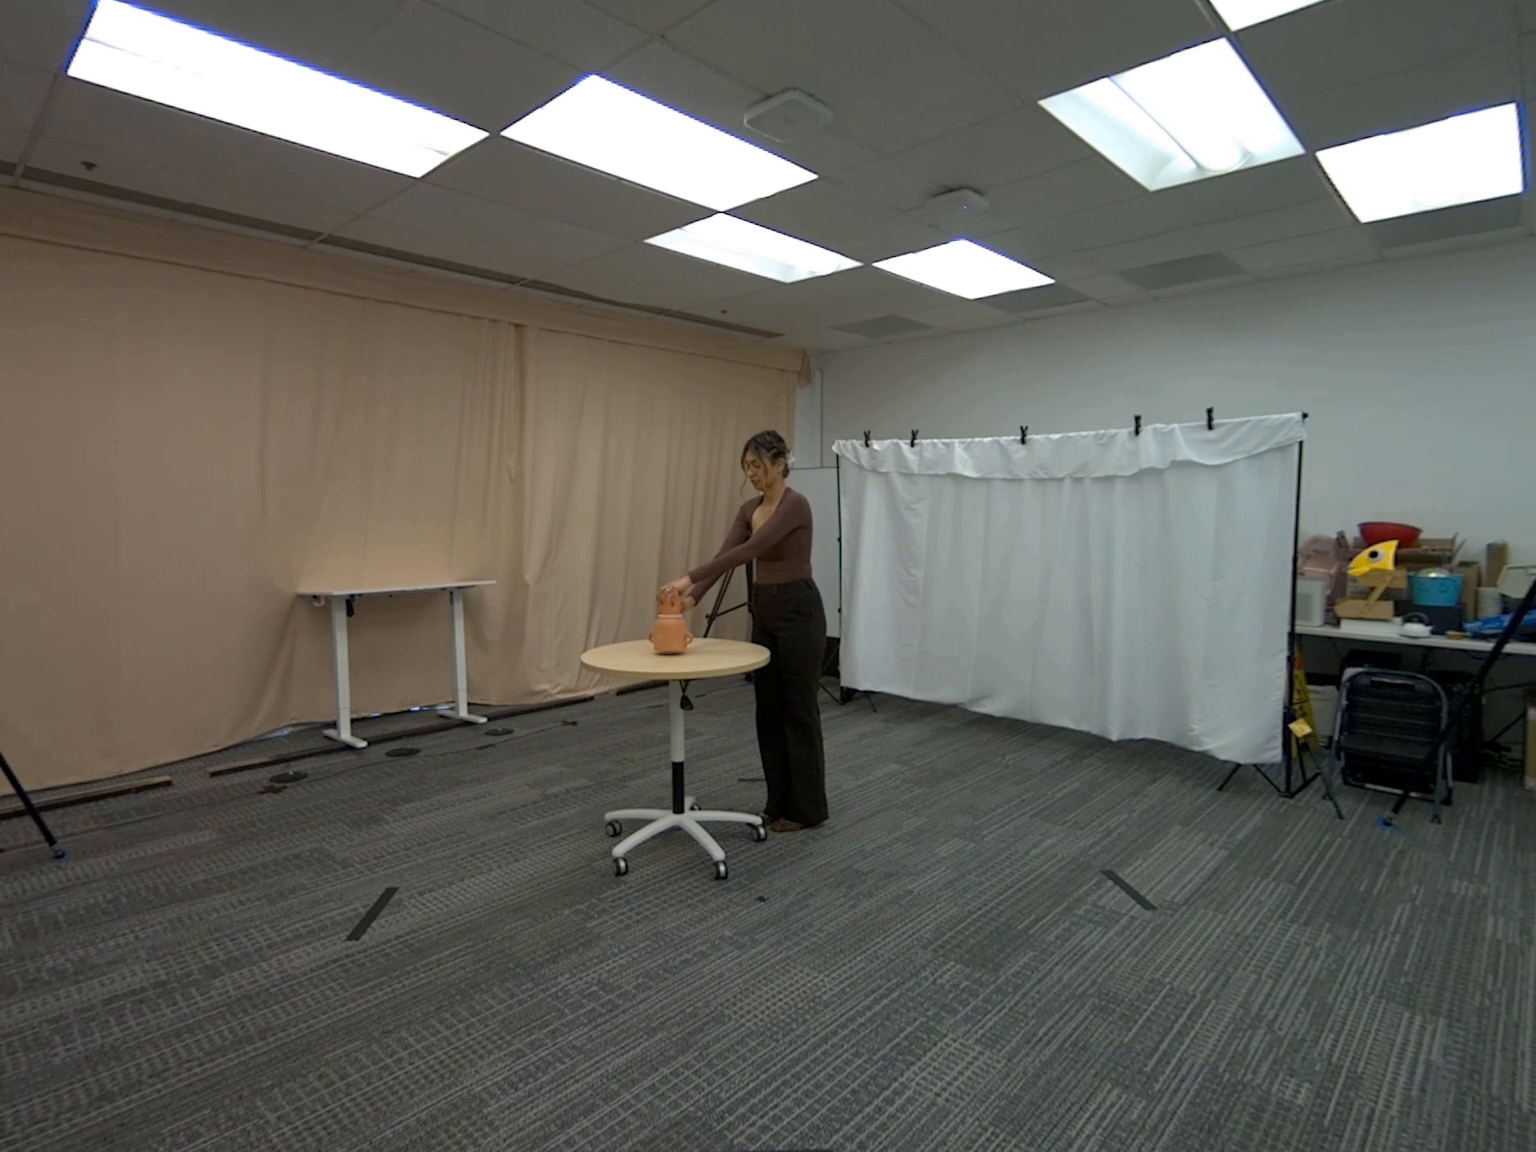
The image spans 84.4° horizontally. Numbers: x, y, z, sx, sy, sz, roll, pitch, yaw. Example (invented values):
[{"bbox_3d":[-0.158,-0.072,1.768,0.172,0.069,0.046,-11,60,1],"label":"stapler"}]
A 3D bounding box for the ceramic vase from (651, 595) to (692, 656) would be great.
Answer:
[{"bbox_3d":[-0.394,0.190,3.408,0.156,0.220,0.137,1,-2,-20],"label":"ceramic vase"}]
